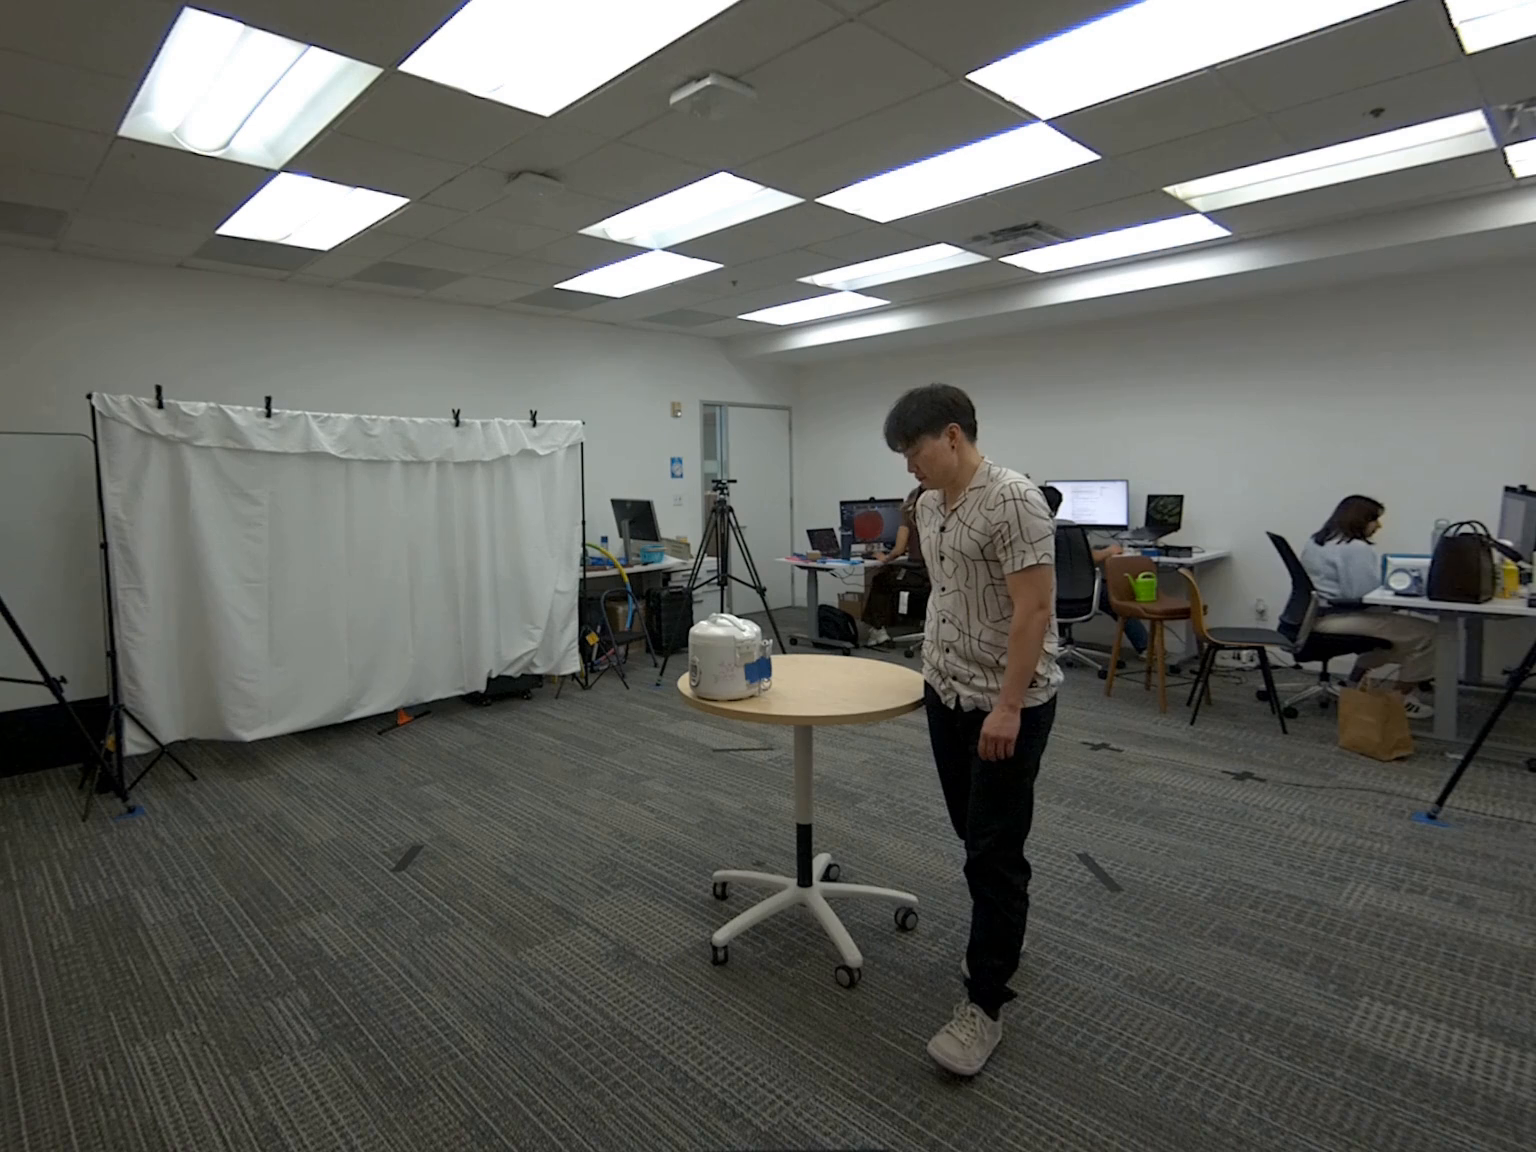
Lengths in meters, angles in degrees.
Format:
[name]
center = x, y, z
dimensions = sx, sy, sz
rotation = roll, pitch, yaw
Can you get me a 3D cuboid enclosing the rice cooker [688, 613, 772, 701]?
[rice cooker]
center = -0.116, 0.226, 2.448
dimensions = 0.212, 0.232, 0.227
rotation = -4, 5, -36
